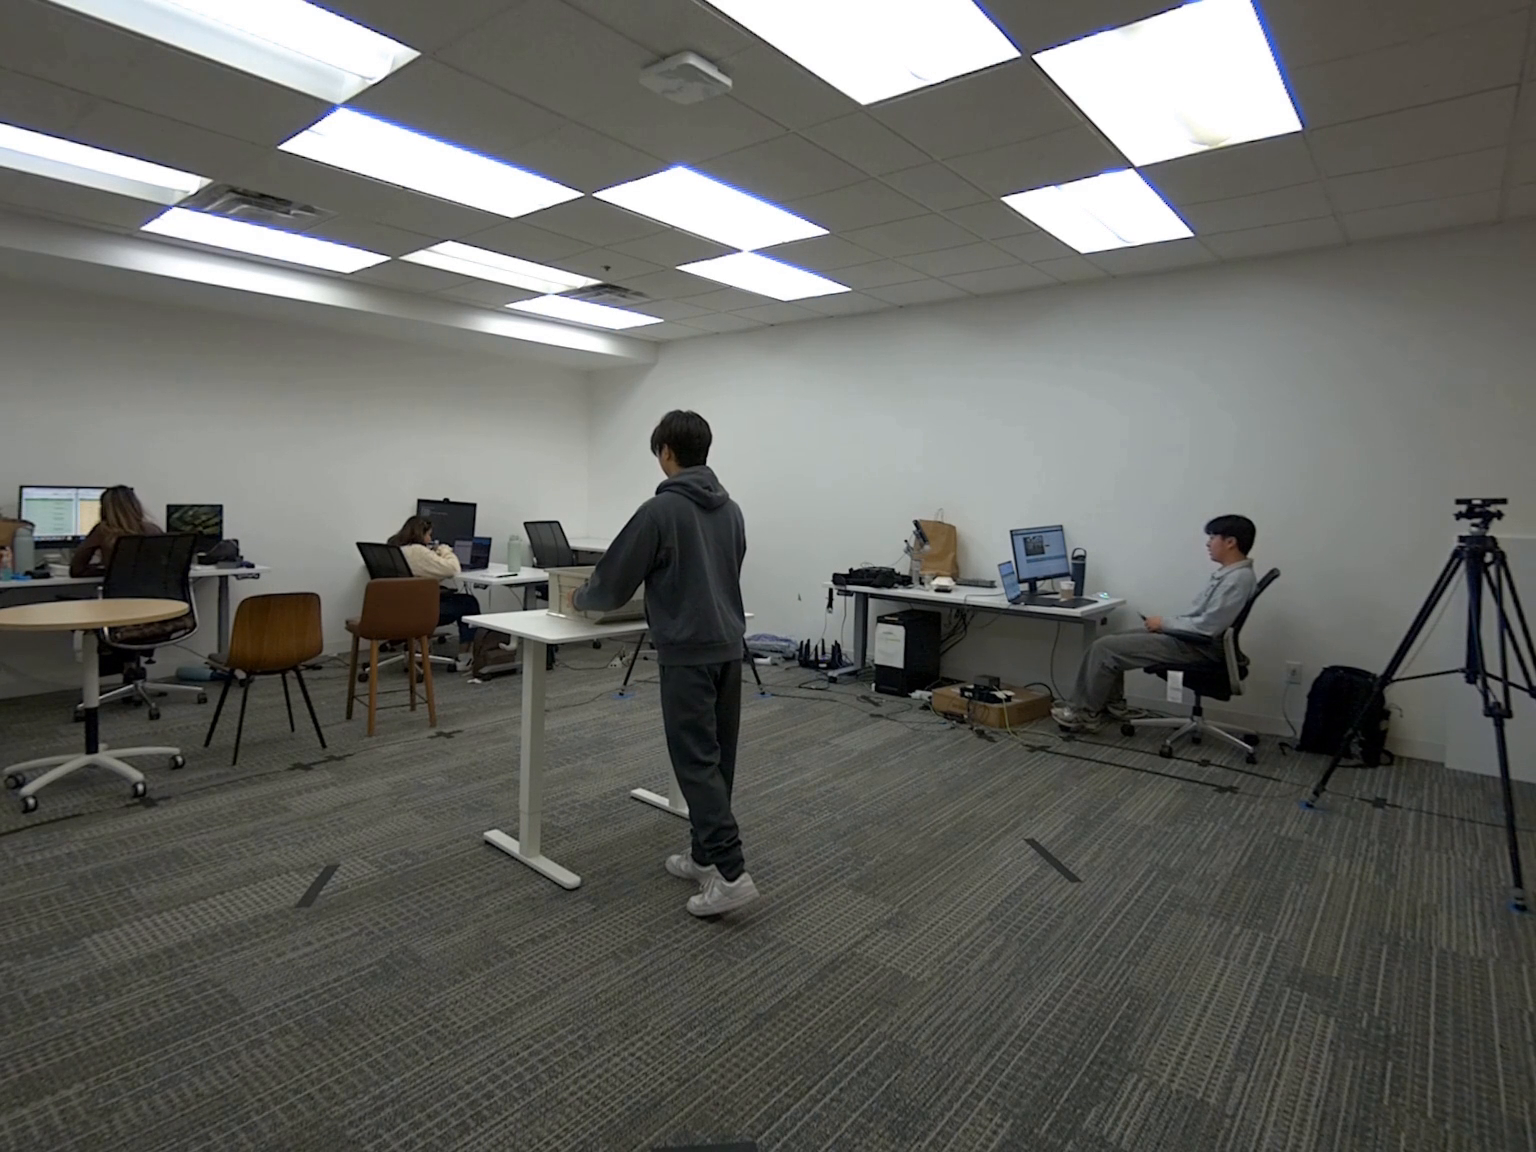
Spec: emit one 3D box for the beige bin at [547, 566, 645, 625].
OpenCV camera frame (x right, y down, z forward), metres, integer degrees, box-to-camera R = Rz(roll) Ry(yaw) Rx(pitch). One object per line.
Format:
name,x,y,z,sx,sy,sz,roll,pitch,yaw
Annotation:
beige bin,-0.619,0.070,3.370,0.390,0.188,0.410,6,7,42
